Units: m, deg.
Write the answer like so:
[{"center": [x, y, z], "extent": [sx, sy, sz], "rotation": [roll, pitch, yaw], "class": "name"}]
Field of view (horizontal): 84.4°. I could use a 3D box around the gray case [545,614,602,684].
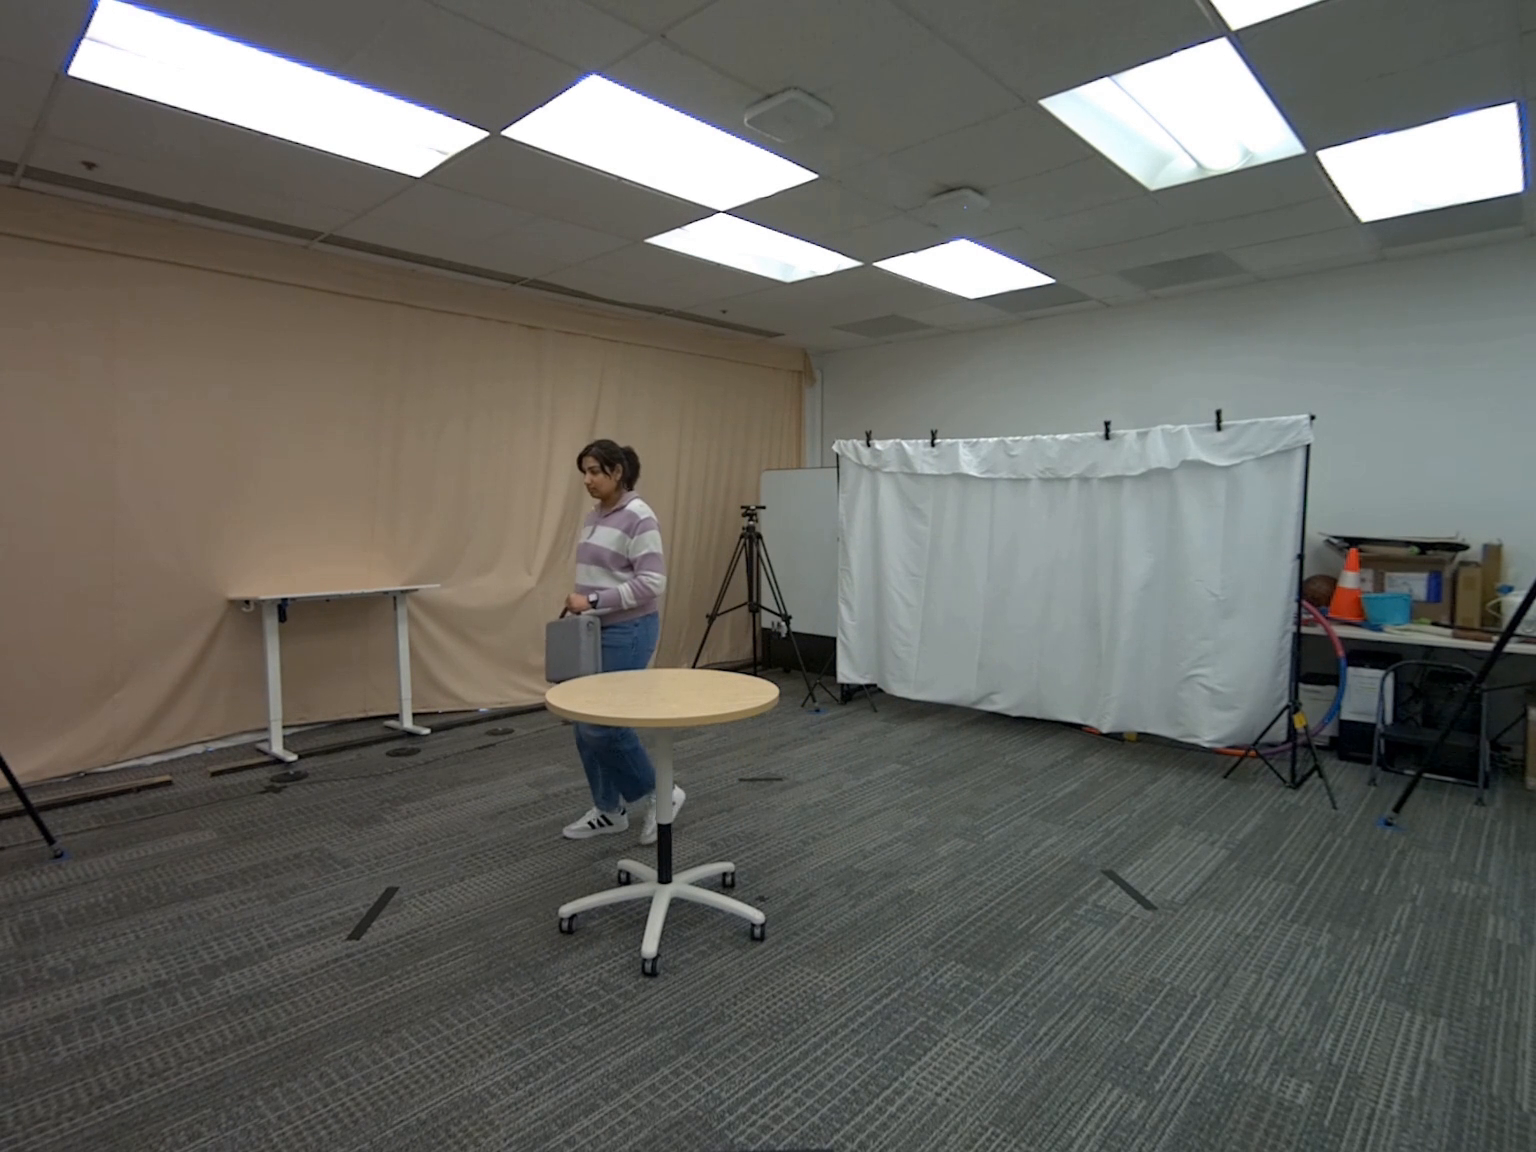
[{"center": [-0.752, 0.281, 3.291], "extent": [0.264, 0.262, 0.101], "rotation": [-12, -14, 44], "class": "gray case"}]
